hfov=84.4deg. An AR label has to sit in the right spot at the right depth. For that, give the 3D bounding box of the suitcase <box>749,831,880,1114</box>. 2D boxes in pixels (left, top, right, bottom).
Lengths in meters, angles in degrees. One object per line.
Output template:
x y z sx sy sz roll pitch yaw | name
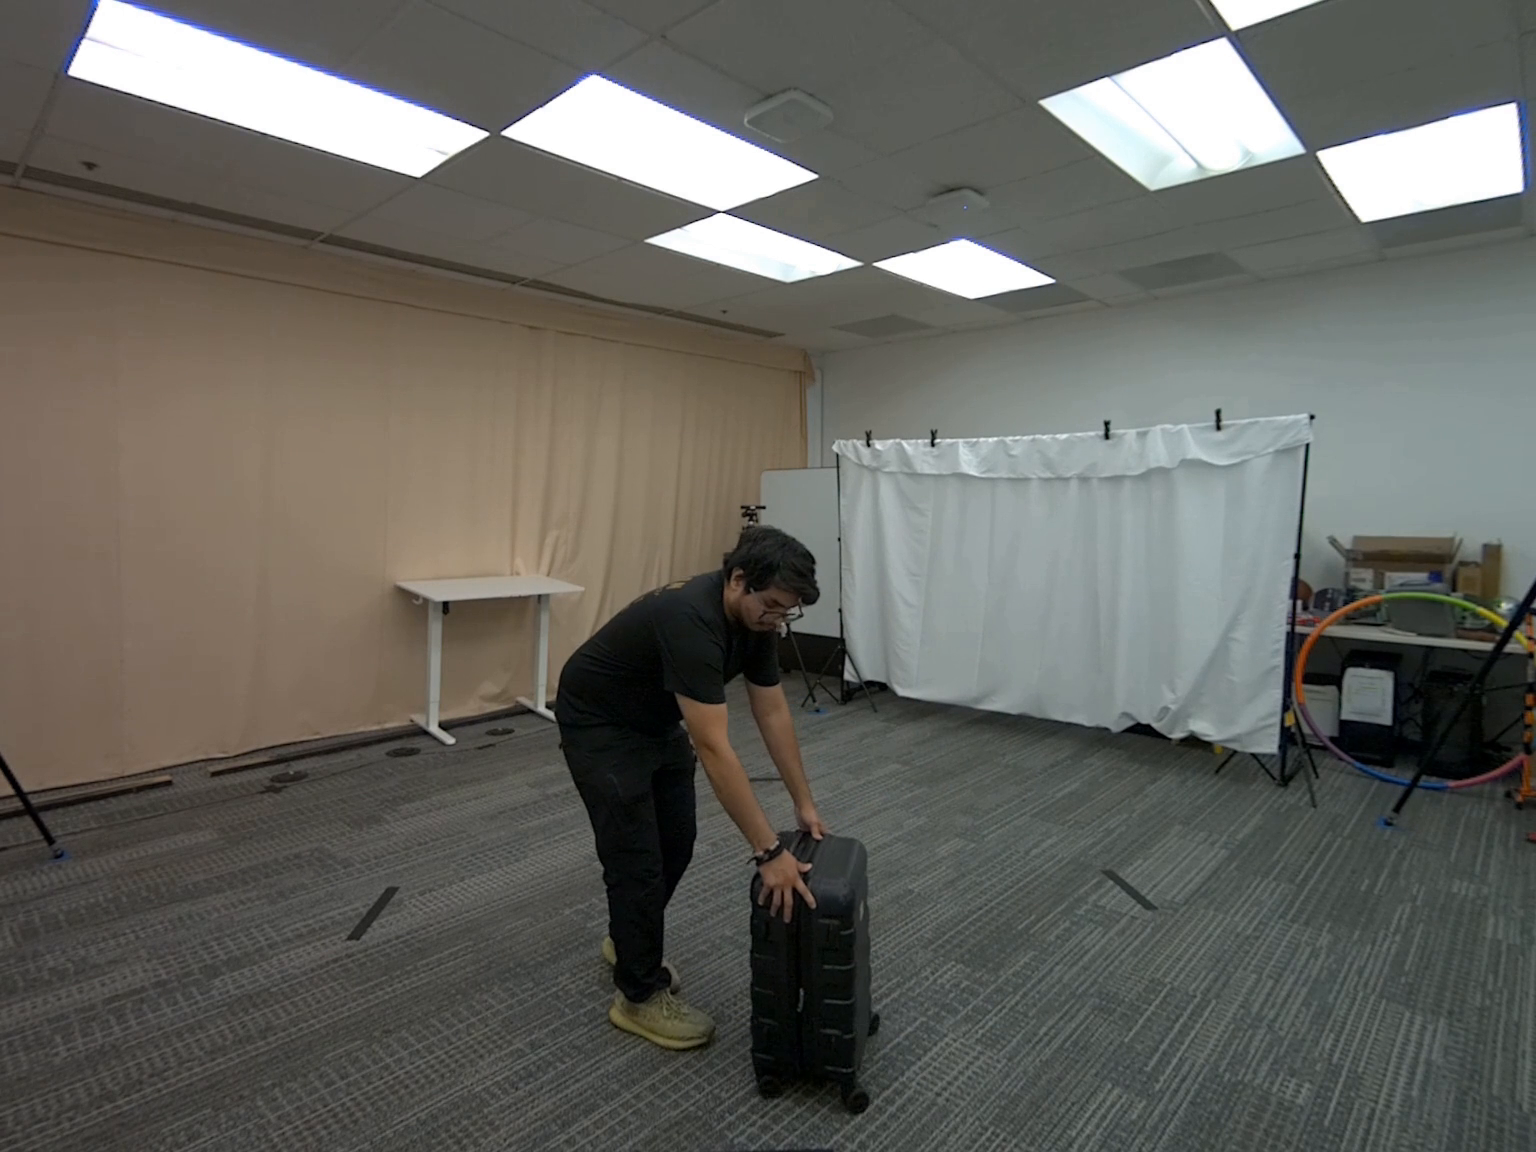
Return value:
0.117 0.948 2.089 0.252 0.548 0.370 -1 4 14 | suitcase
